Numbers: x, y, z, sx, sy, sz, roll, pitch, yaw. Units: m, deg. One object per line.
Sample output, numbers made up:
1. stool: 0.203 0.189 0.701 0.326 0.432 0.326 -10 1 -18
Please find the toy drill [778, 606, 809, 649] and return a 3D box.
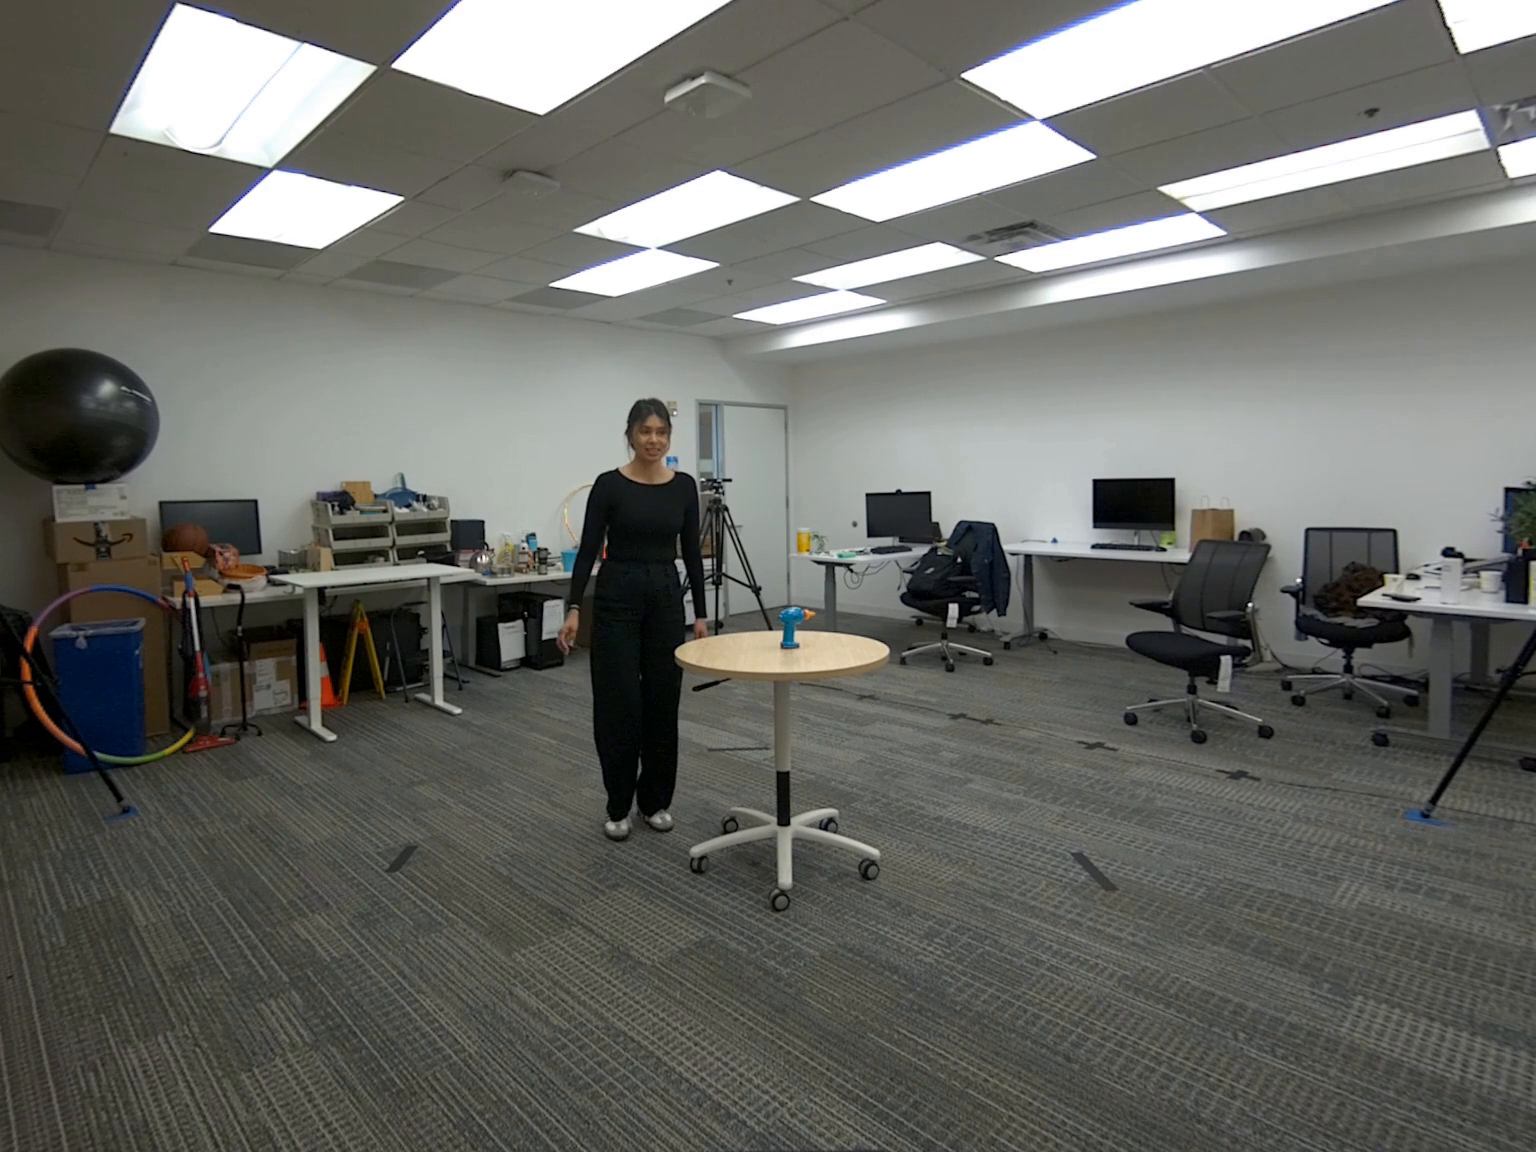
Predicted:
1. toy drill: 0.106 0.181 3.115 0.165 0.146 0.063 -5 4 -38
